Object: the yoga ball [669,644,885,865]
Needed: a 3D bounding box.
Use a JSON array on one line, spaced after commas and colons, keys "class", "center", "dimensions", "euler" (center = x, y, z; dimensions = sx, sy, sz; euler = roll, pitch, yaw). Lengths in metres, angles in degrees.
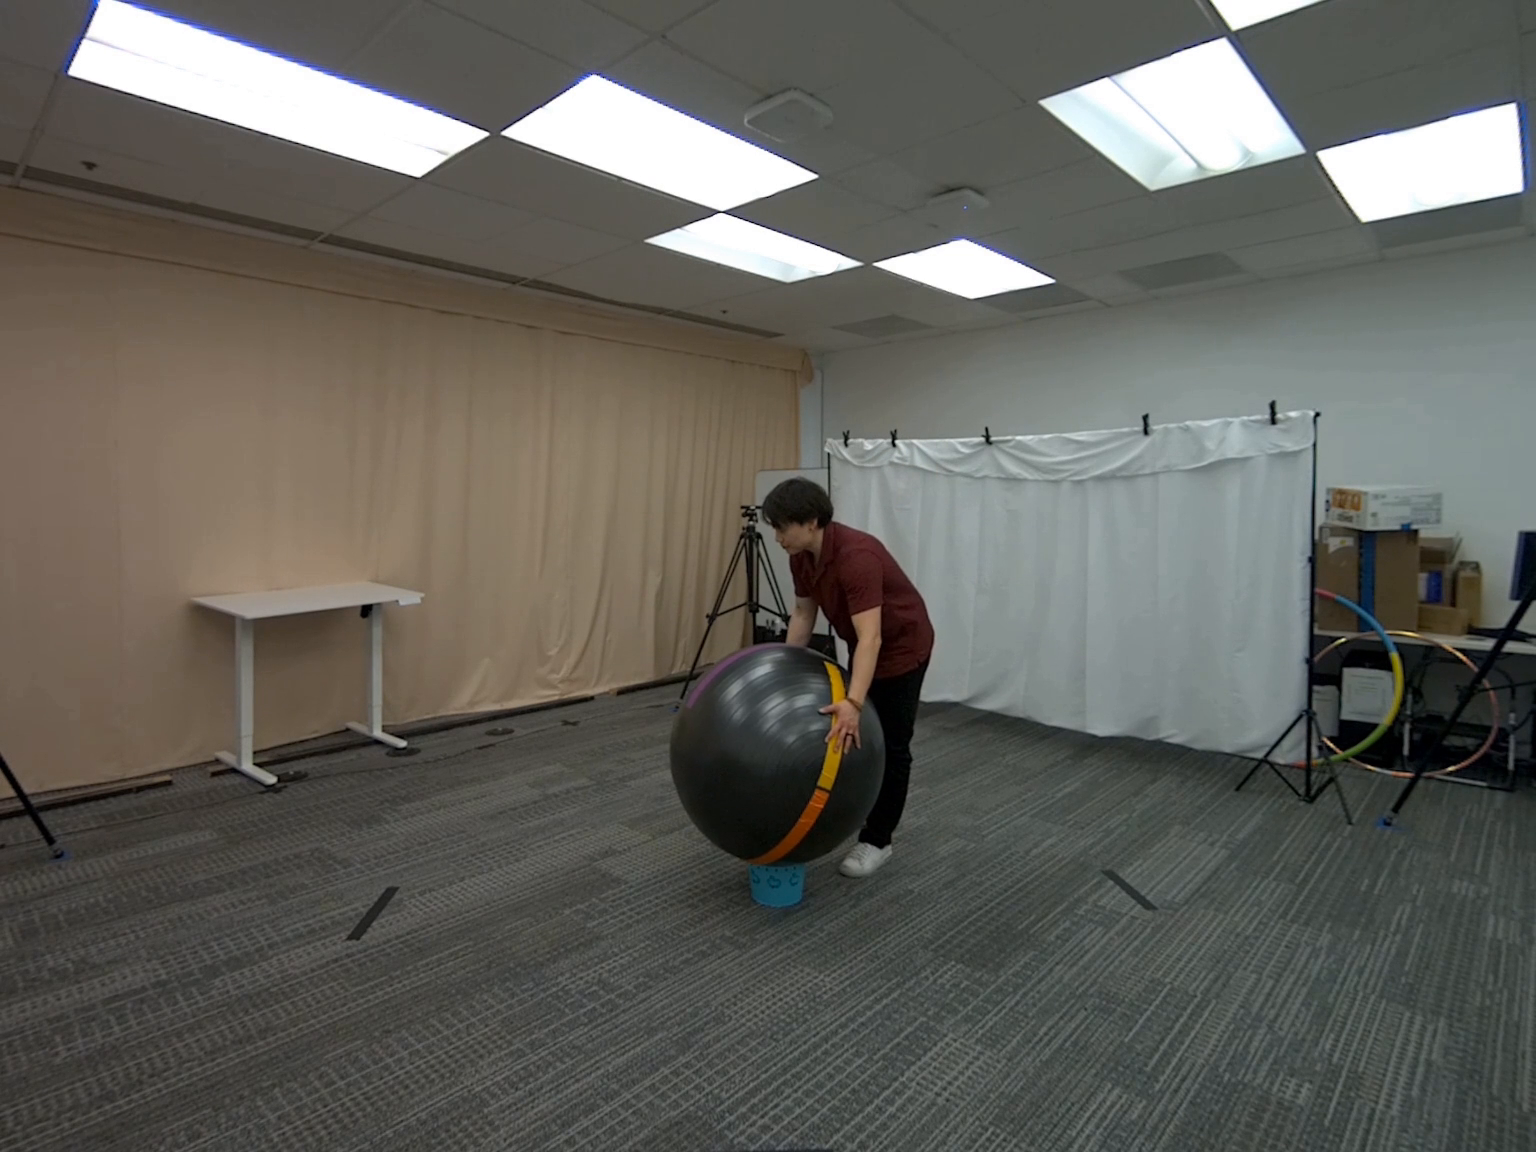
[{"class": "yoga ball", "center": [0.027, 0.620, 2.986], "dimensions": [0.757, 0.756, 0.760], "euler": [0, 4, -2]}]
